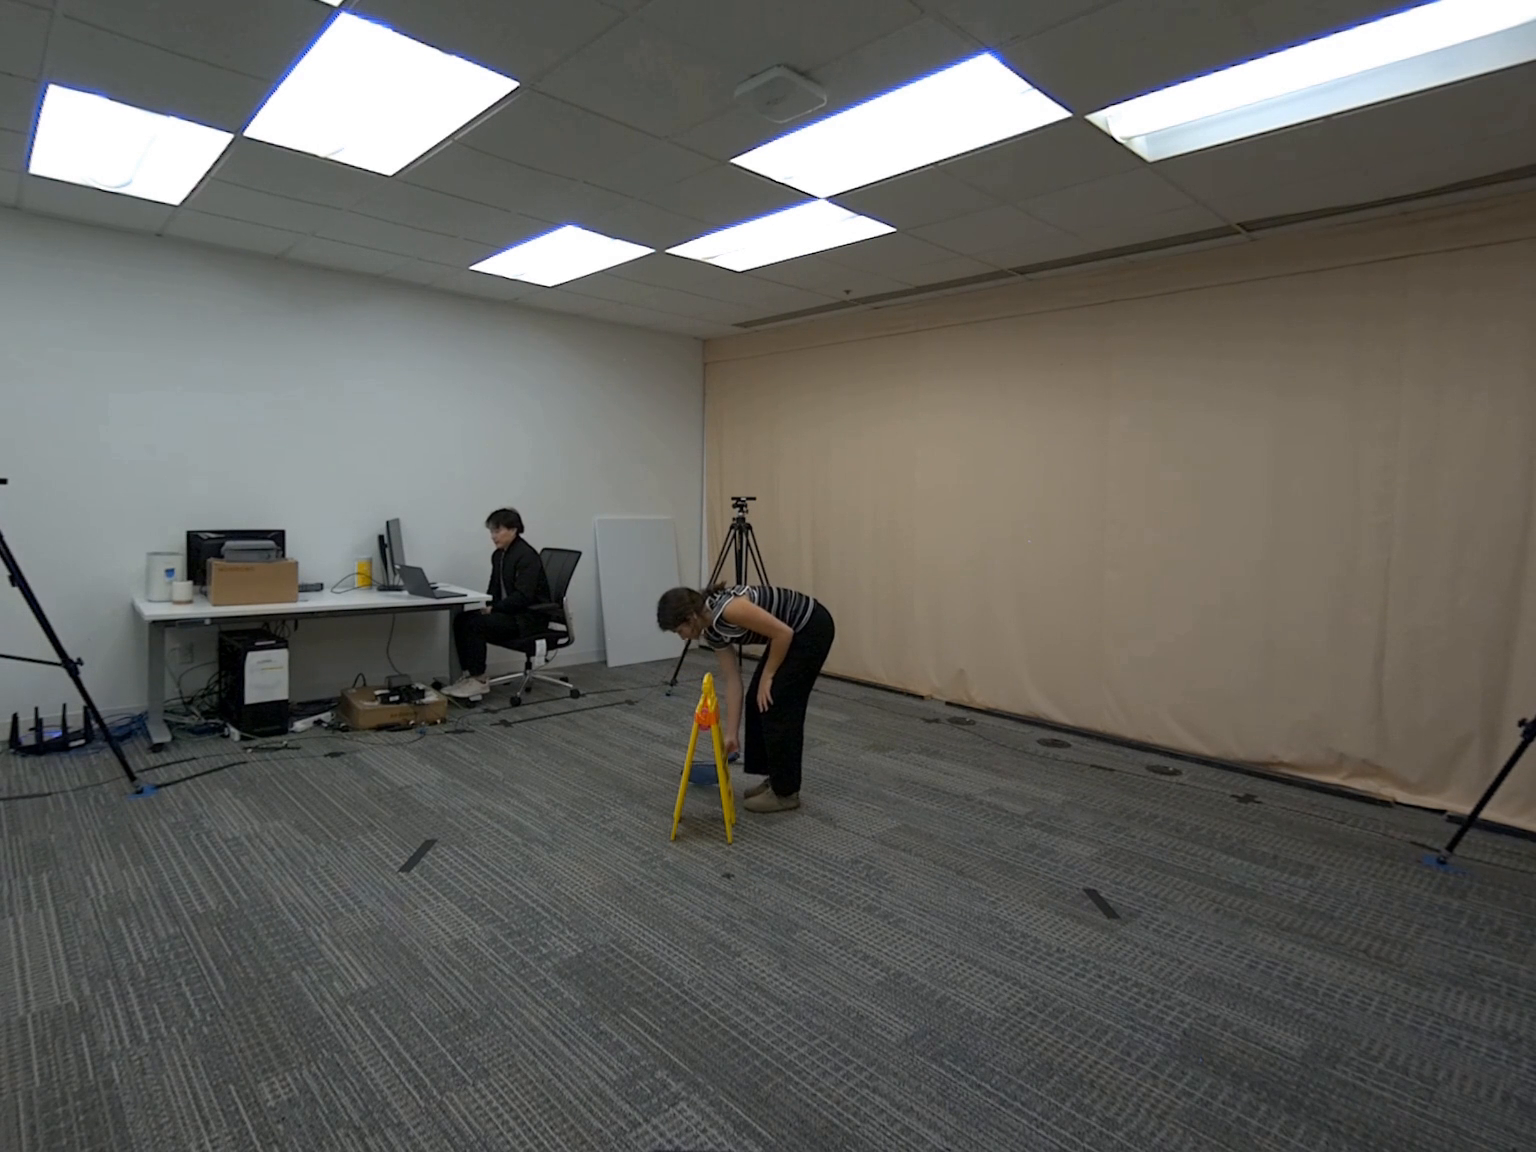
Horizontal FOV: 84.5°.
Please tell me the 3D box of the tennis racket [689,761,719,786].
[{"bbox_3d":[-0.266,0.907,3.962,0.209,0.032,0.433,21,-37,-22],"label":"tennis racket"}]
